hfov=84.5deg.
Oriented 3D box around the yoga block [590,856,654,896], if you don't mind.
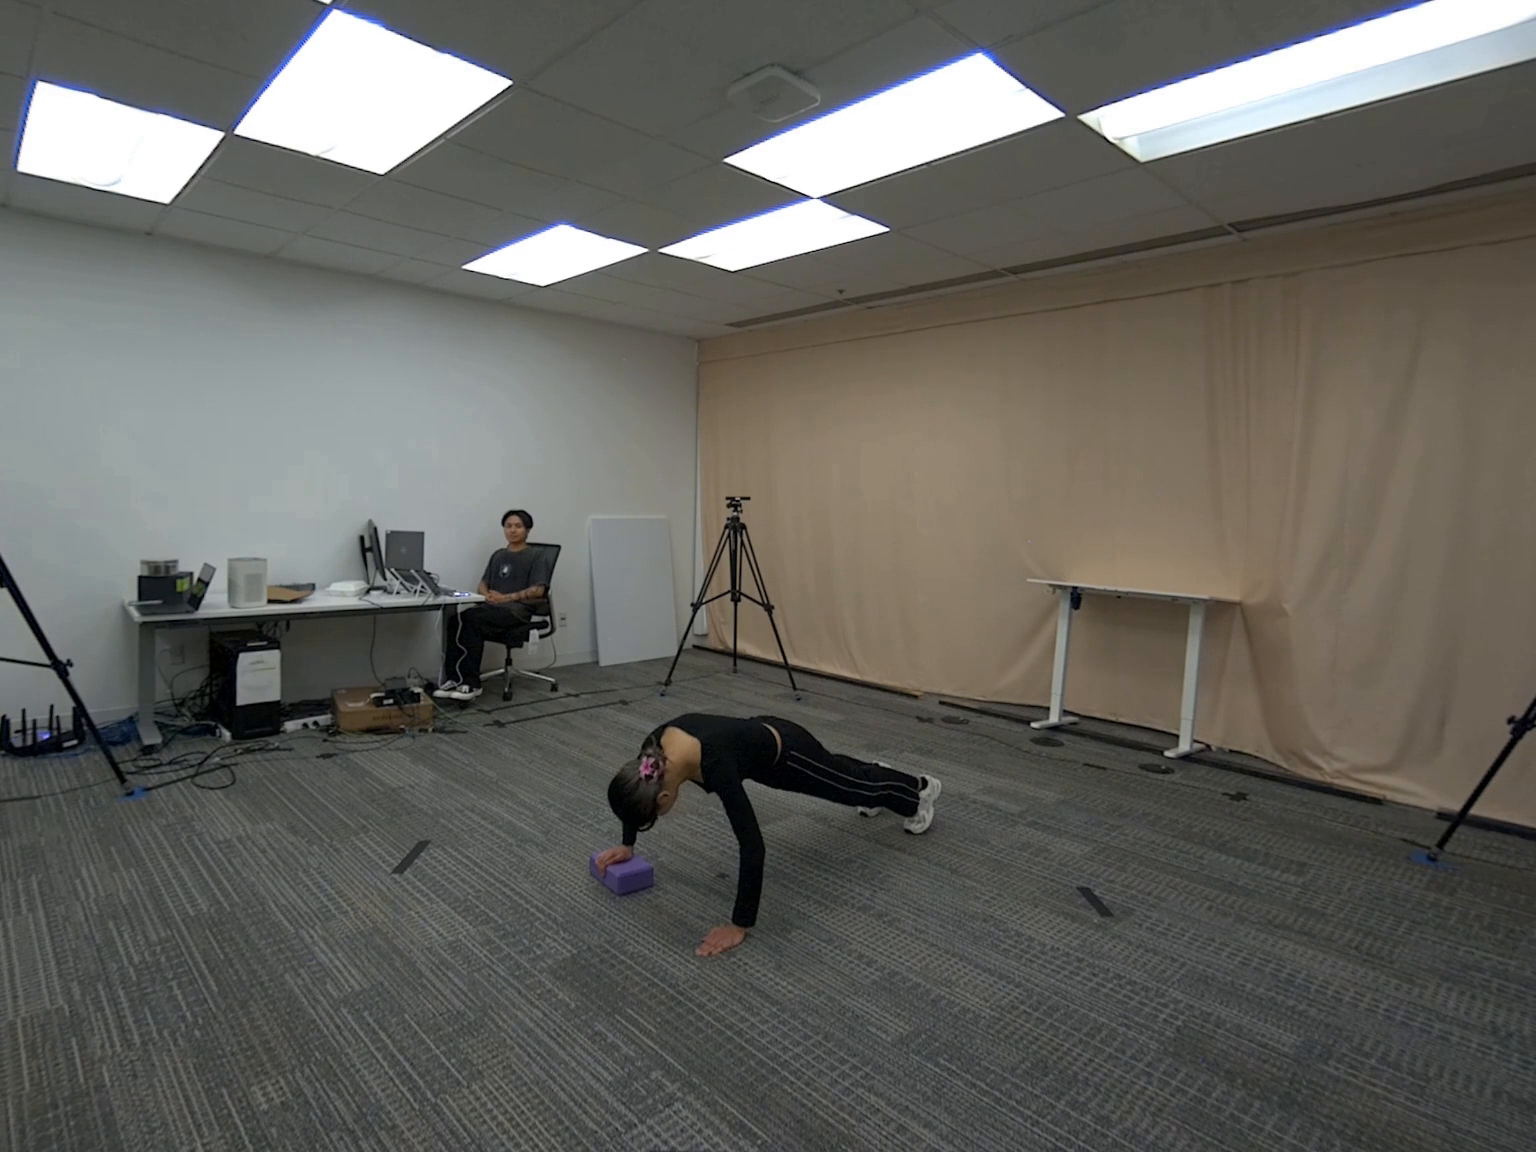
[{"bbox_3d":[-0.537,1.067,3.049,0.146,0.076,0.235,-3,5,-37],"label":"yoga block"}]
